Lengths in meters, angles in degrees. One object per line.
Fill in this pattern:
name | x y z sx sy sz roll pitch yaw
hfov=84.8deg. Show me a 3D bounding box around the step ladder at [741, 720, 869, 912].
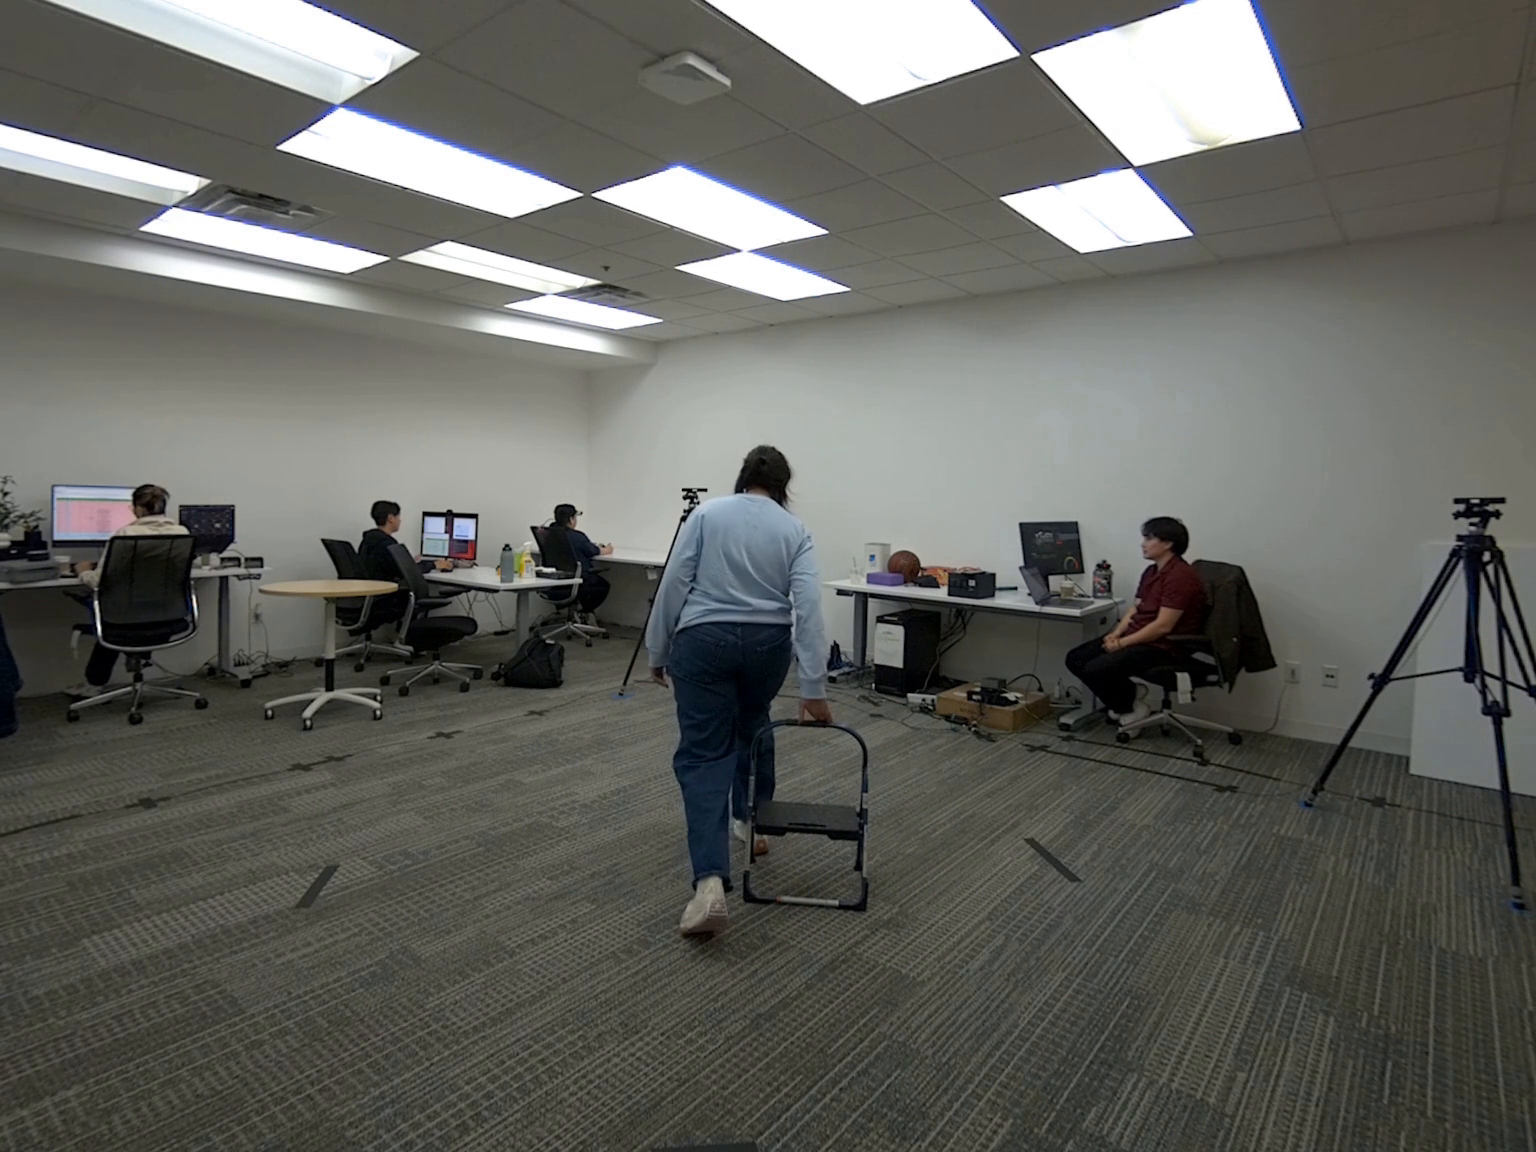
step ladder | 0.135 0.787 2.993 0.433 0.604 0.348 2 3 5
